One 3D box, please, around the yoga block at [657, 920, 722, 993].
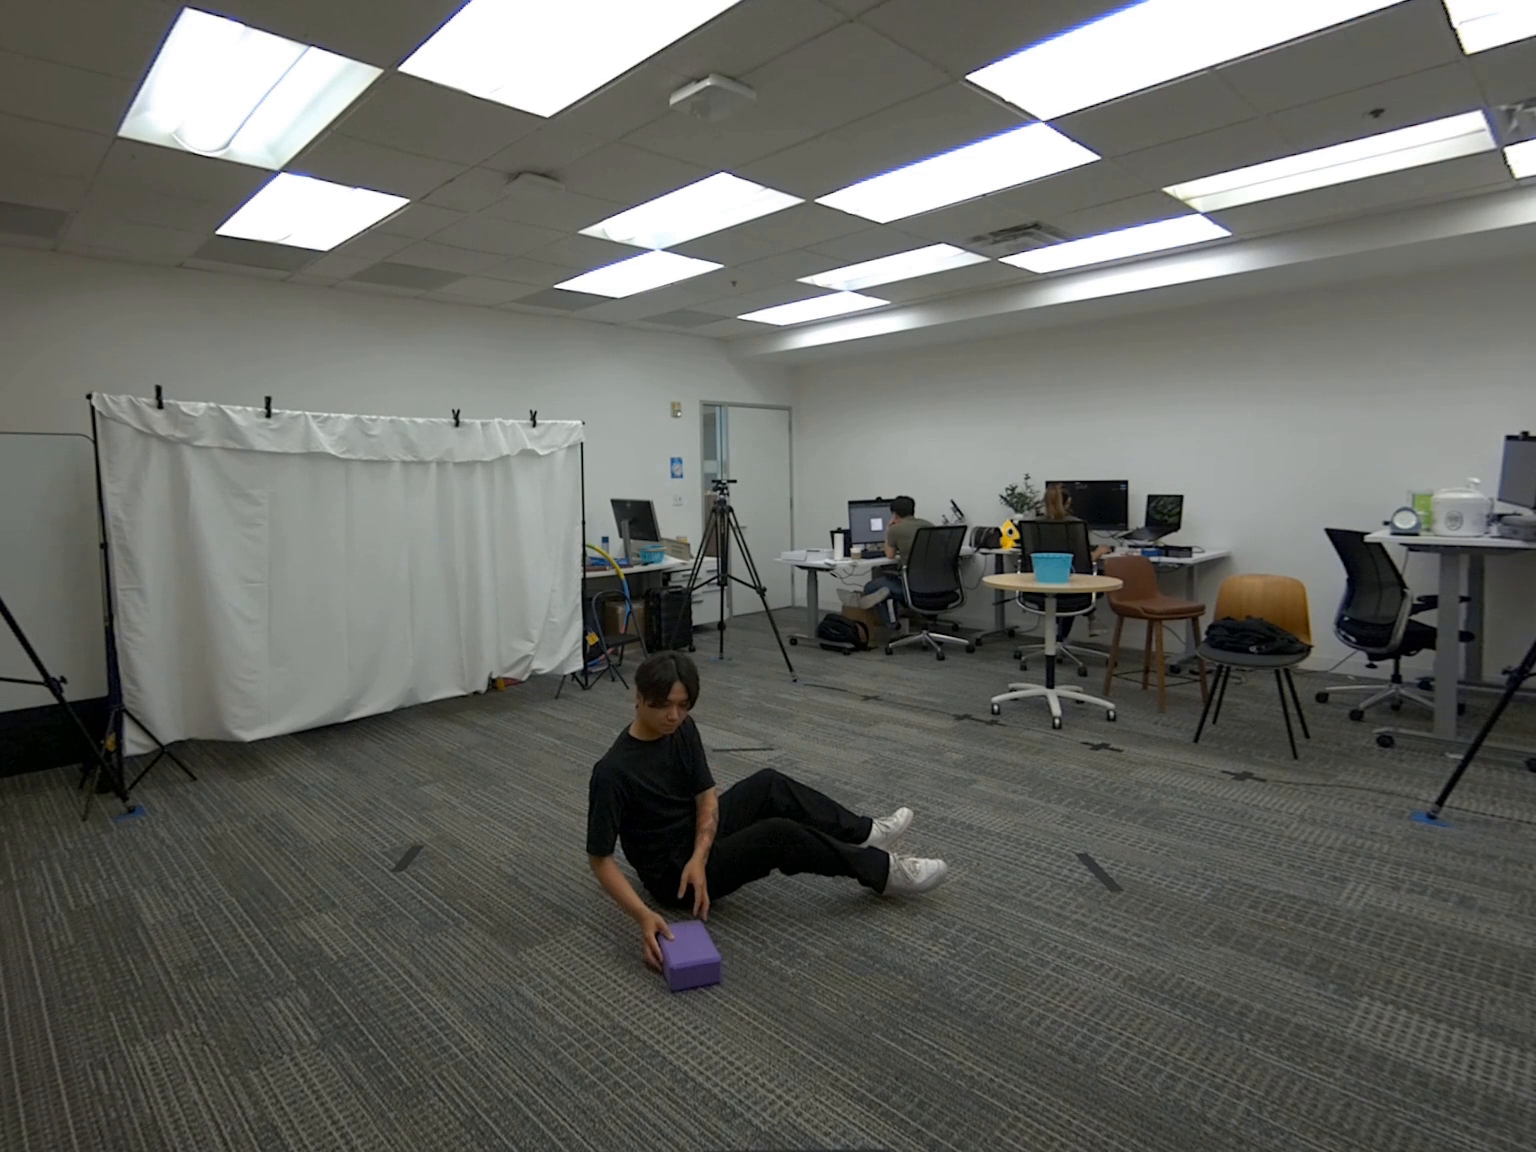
[{"bbox_3d":[-0.235,1.090,2.459,0.147,0.076,0.234,-2,6,-16],"label":"yoga block"}]
